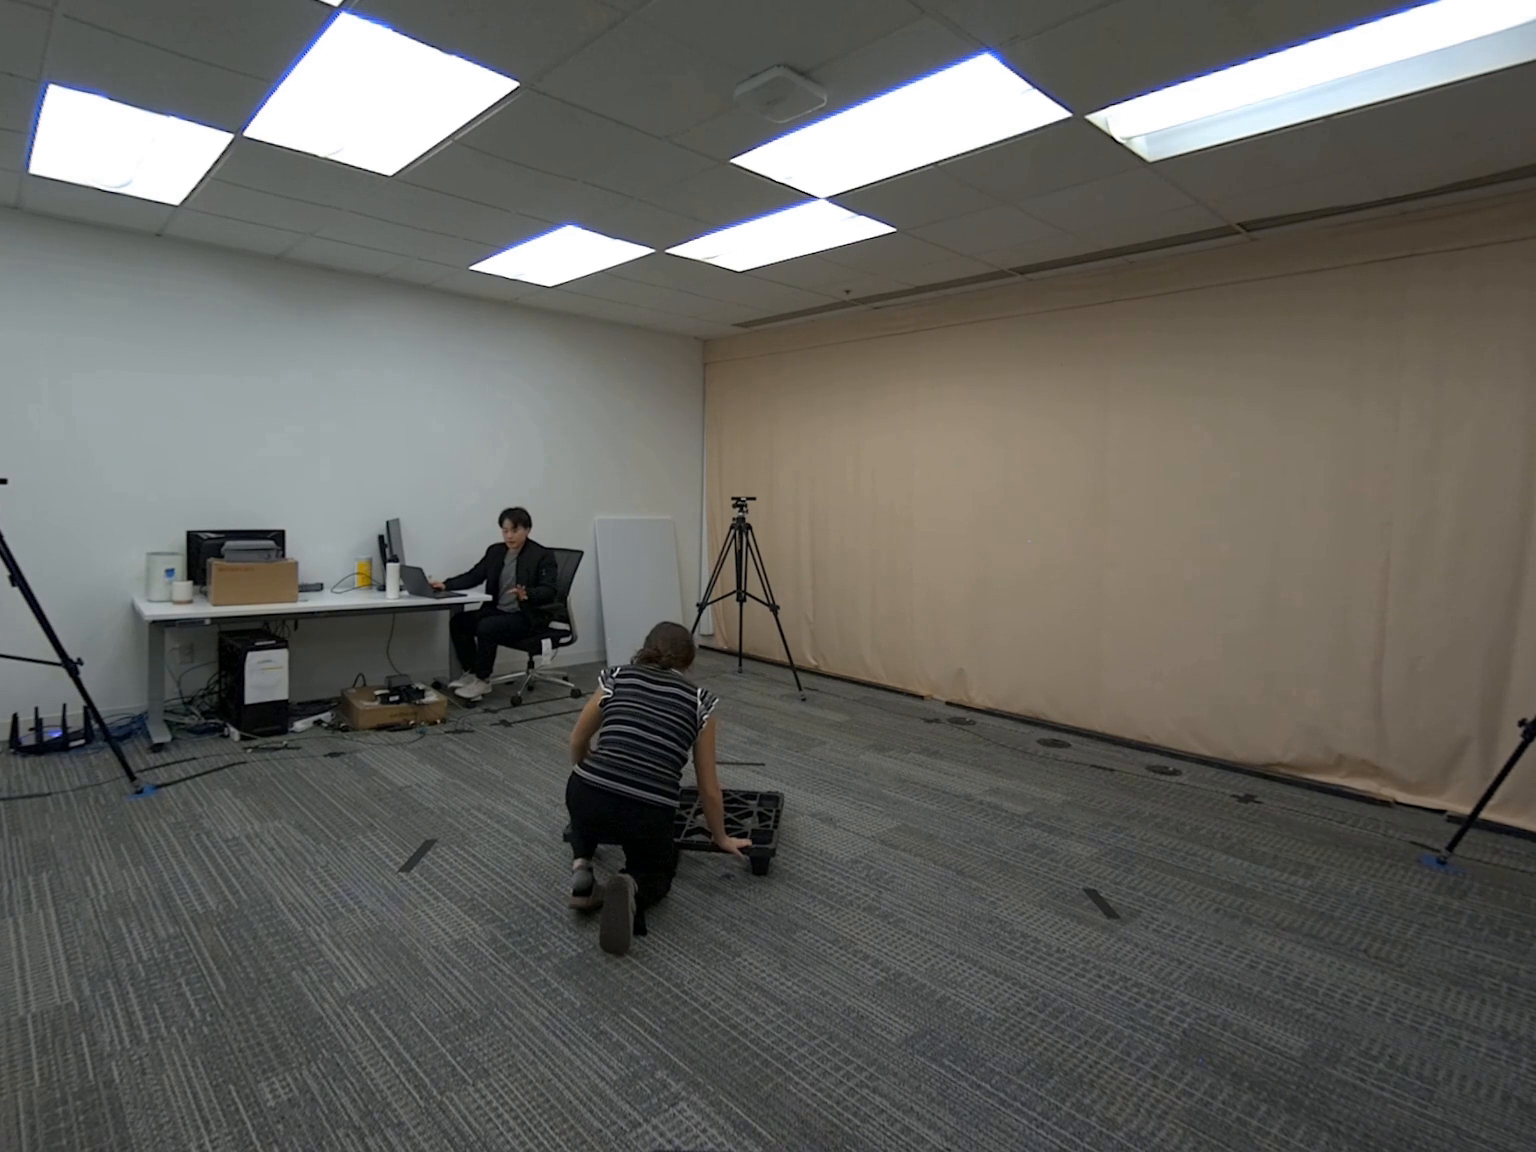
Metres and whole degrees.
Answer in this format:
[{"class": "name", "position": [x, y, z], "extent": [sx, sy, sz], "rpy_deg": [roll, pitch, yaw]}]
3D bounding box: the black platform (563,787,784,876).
[{"class": "black platform", "position": [-0.351, 1.010, 3.377], "extent": [0.810, 0.143, 0.604], "rpy_deg": [2, 5, 6]}]
